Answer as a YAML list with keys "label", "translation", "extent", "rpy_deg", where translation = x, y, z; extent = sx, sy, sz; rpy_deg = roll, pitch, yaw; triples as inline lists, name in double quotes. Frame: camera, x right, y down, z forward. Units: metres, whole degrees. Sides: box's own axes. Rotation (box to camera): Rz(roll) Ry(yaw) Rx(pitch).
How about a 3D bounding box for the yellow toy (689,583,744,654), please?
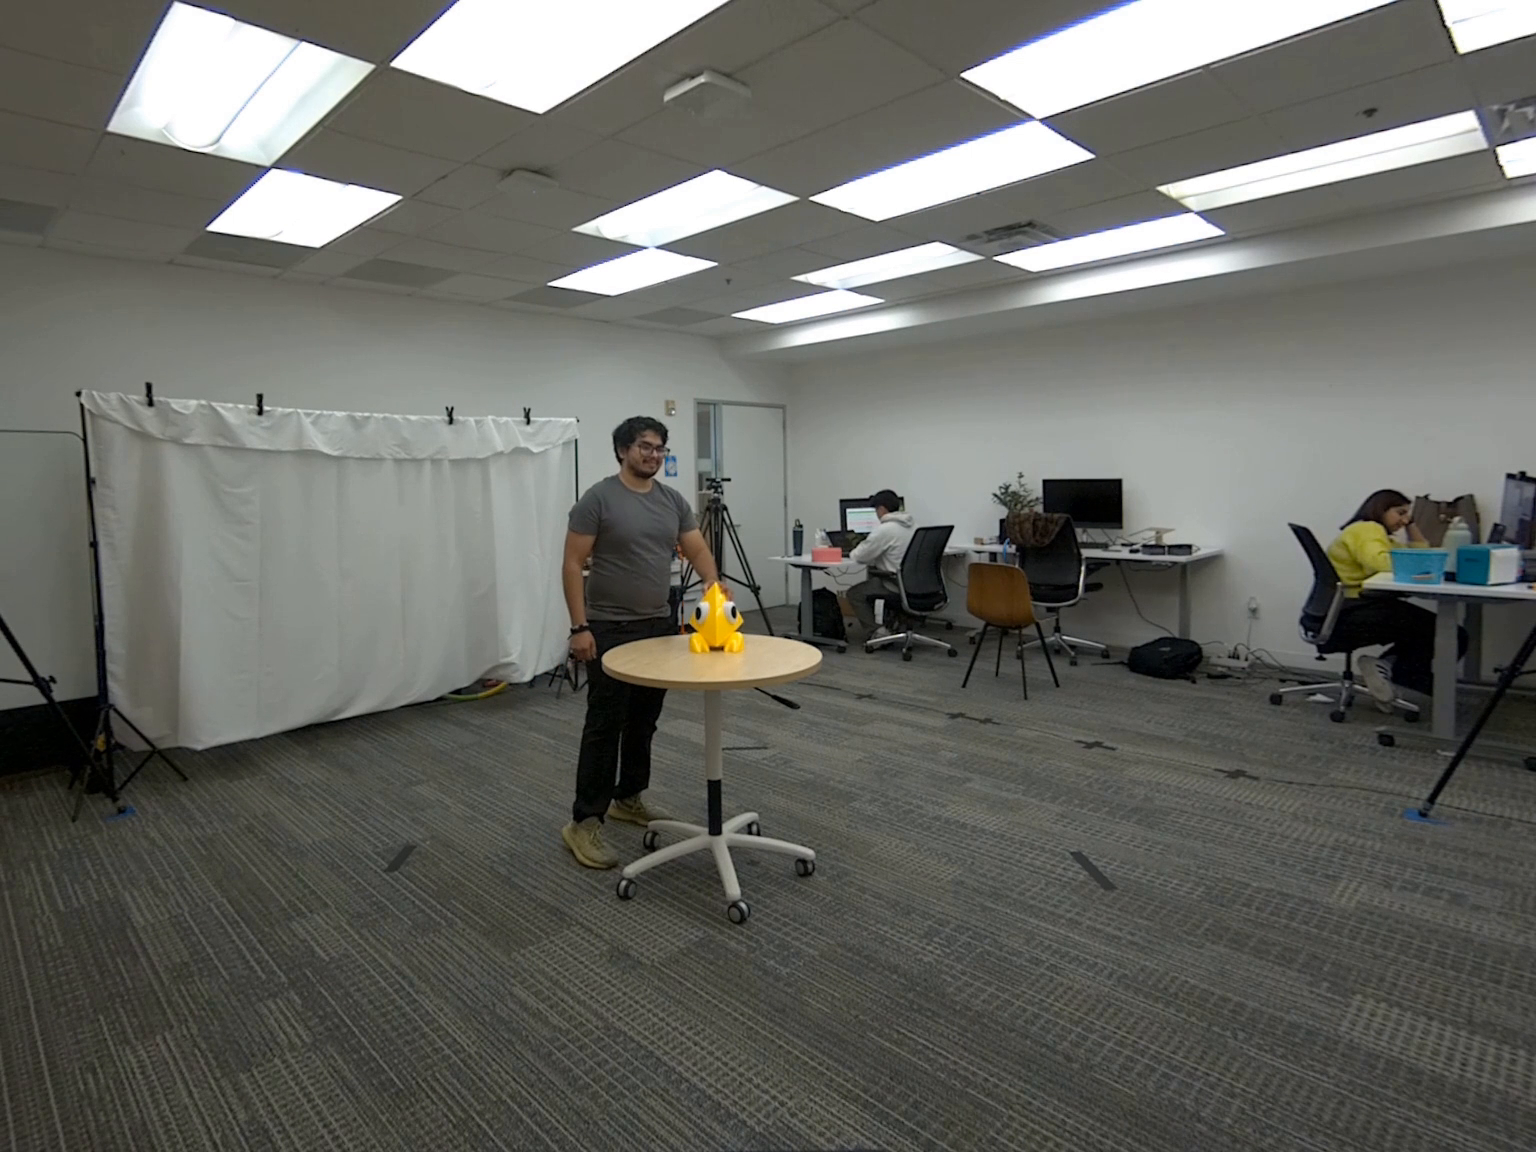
- label: "yellow toy"
  translation: [-0.183, 0.147, 3.091]
  extent: [0.204, 0.230, 0.194]
  rpy_deg: [0, 5, -2]
